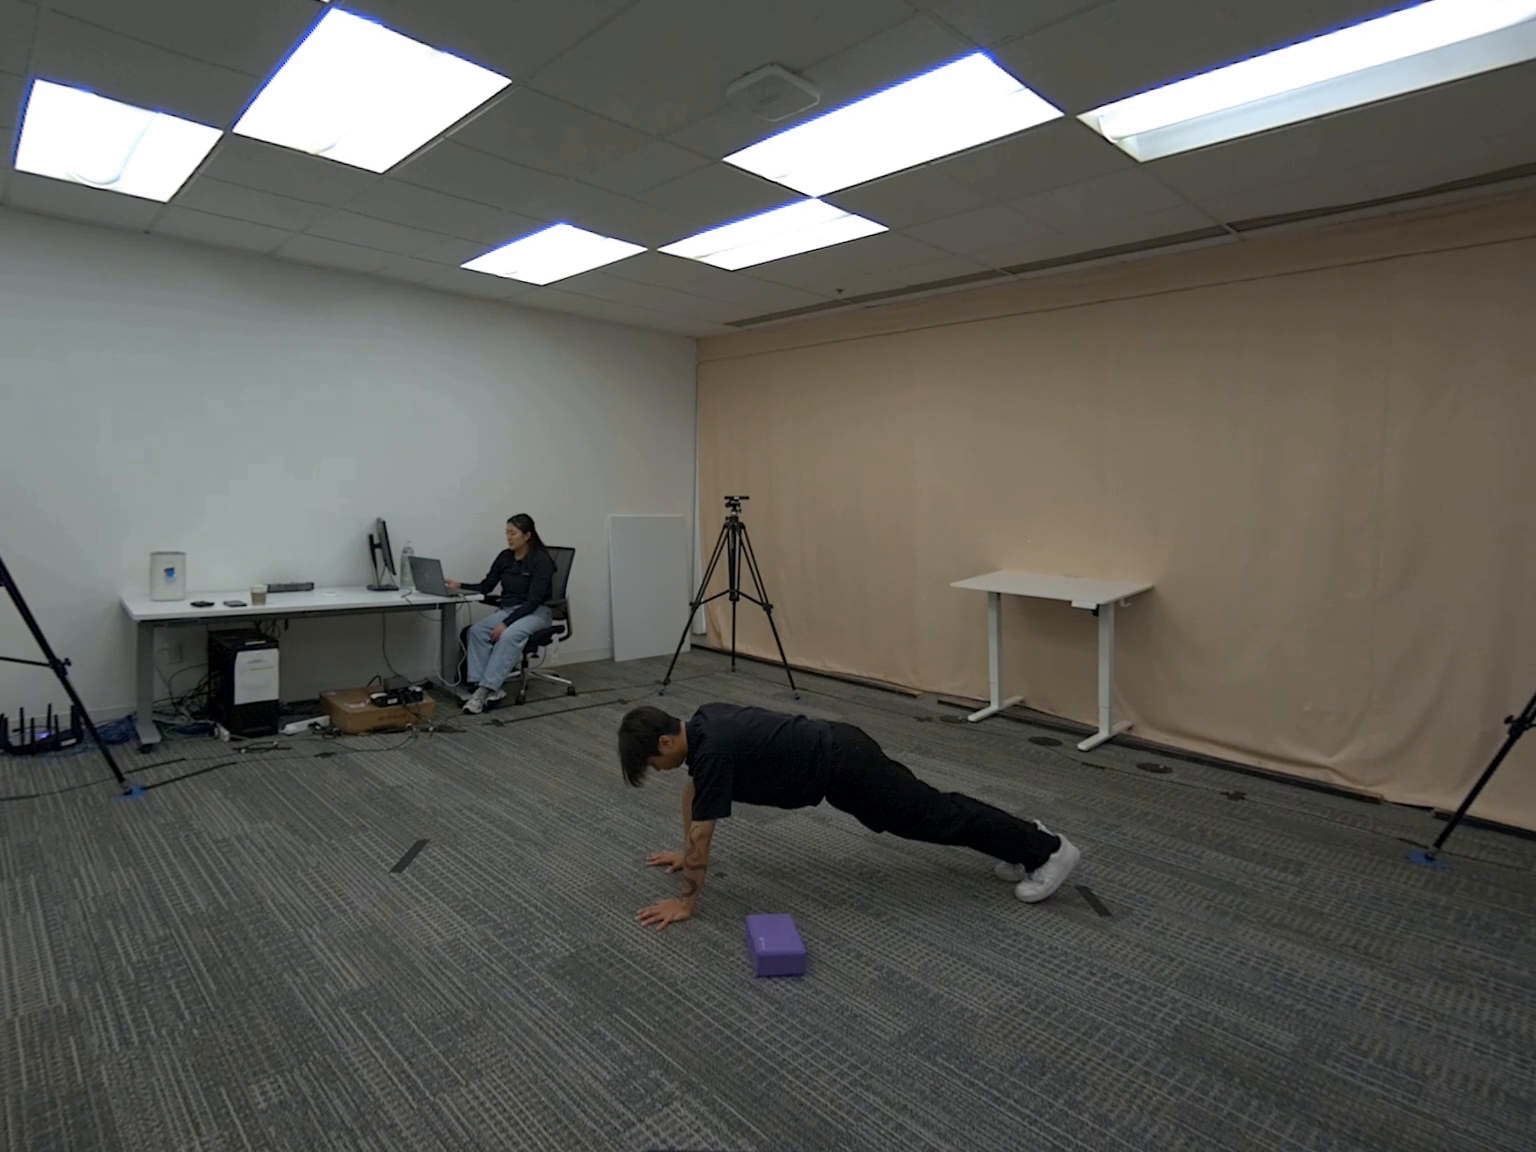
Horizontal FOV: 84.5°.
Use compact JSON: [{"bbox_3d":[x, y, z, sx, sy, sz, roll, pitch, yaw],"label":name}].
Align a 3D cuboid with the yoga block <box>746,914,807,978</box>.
[{"bbox_3d":[0.013,1.117,2.556,0.148,0.076,0.231,1,4,-9],"label":"yoga block"}]
